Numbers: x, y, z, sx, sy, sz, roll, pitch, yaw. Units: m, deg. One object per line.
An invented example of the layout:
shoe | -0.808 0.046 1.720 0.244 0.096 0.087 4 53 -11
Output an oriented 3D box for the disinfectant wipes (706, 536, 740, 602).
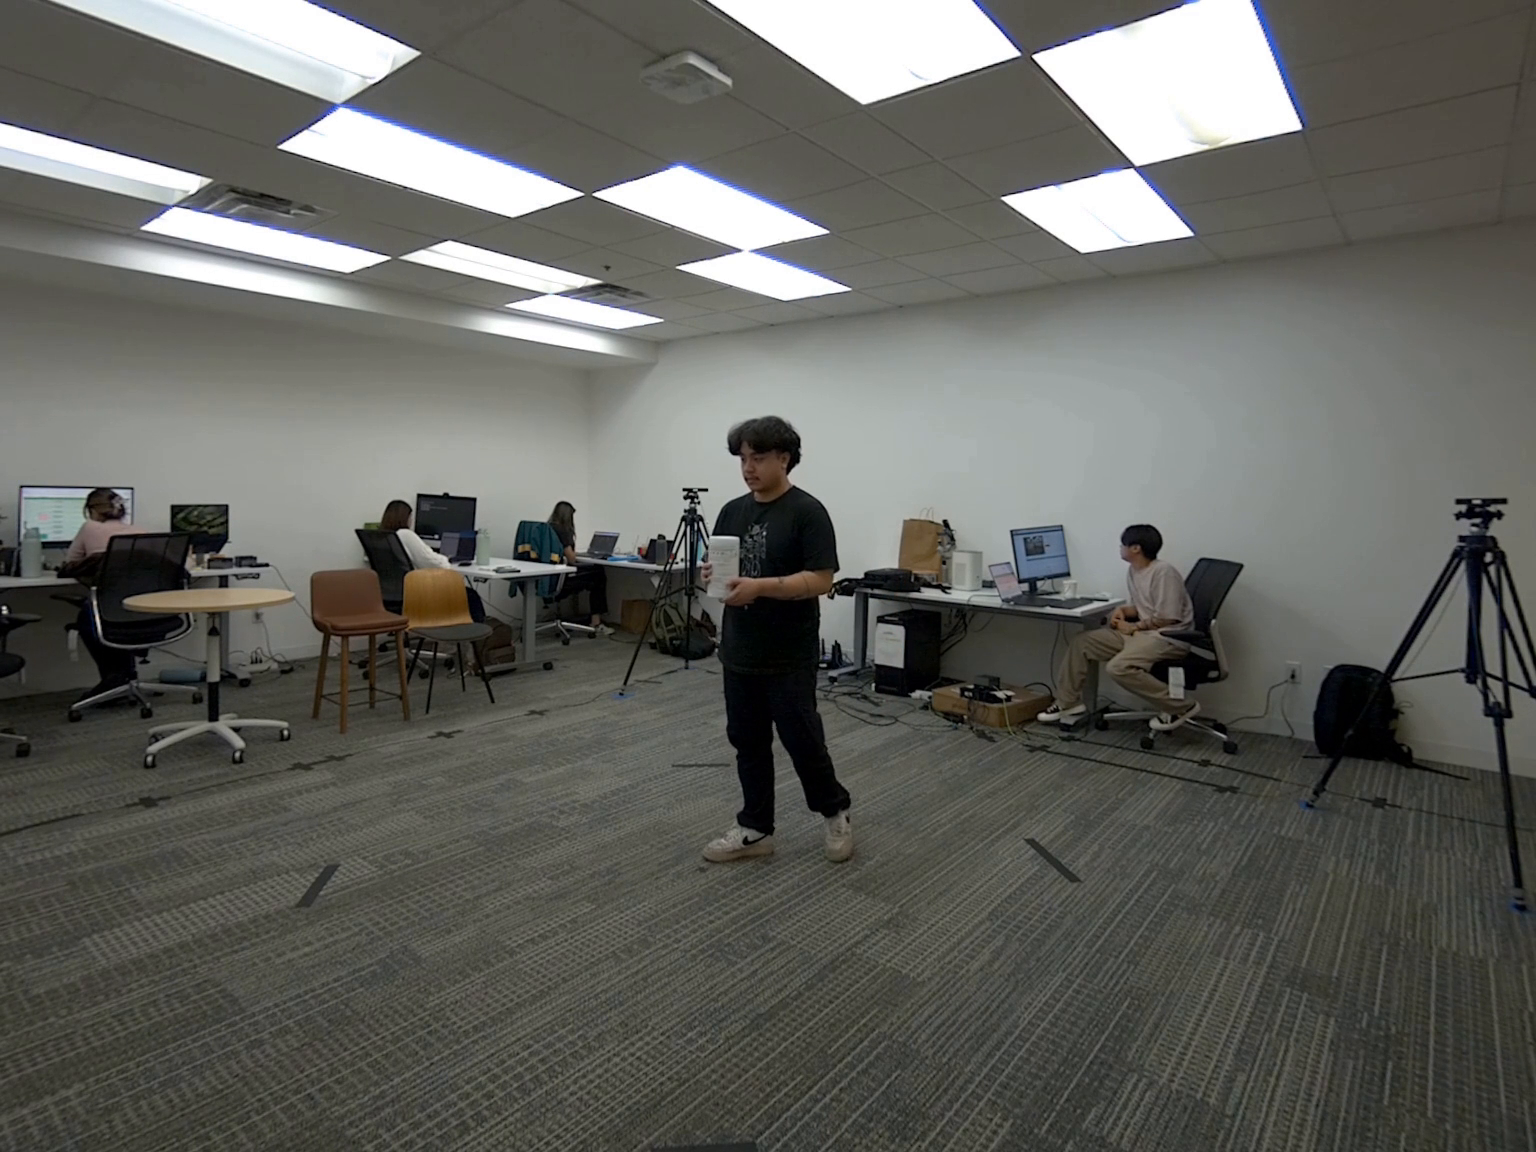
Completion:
disinfectant wipes | -0.156 -0.037 2.994 0.118 0.217 0.118 1 4 -2
